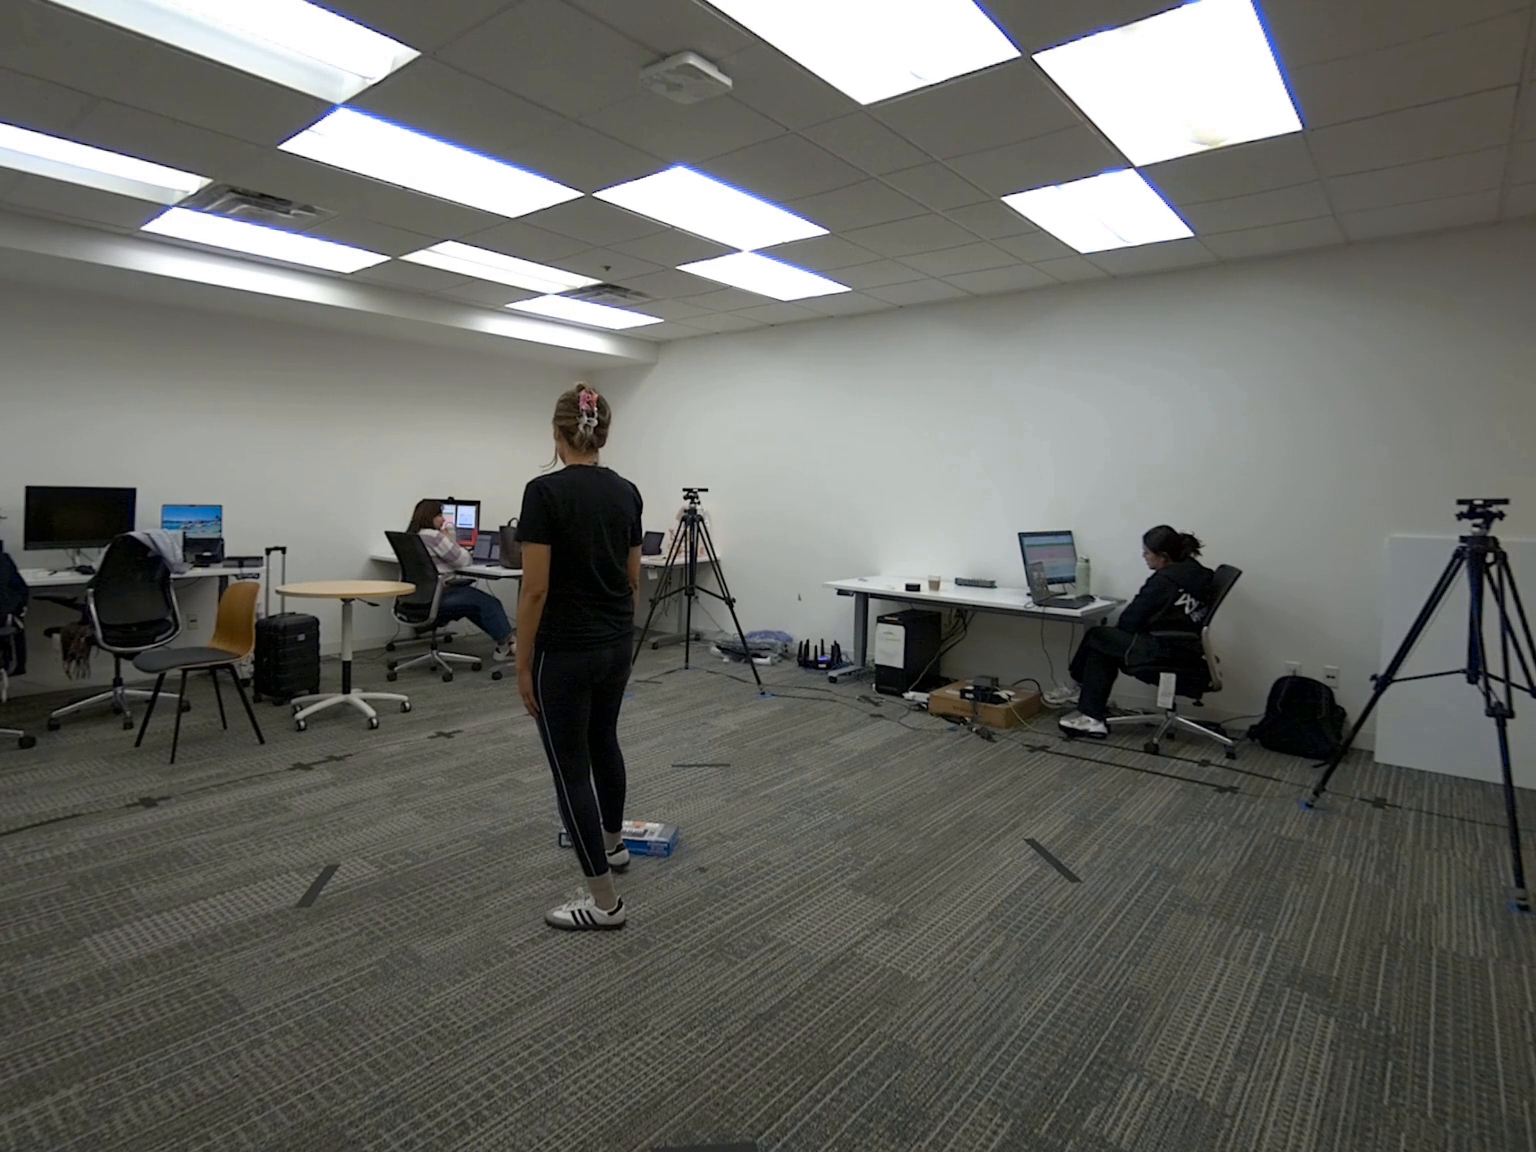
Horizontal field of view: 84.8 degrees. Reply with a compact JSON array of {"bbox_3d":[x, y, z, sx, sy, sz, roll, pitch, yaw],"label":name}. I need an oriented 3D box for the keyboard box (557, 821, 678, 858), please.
[{"bbox_3d":[-0.594,1.014,3.319,0.442,0.059,0.174,2,5,10],"label":"keyboard box"}]
